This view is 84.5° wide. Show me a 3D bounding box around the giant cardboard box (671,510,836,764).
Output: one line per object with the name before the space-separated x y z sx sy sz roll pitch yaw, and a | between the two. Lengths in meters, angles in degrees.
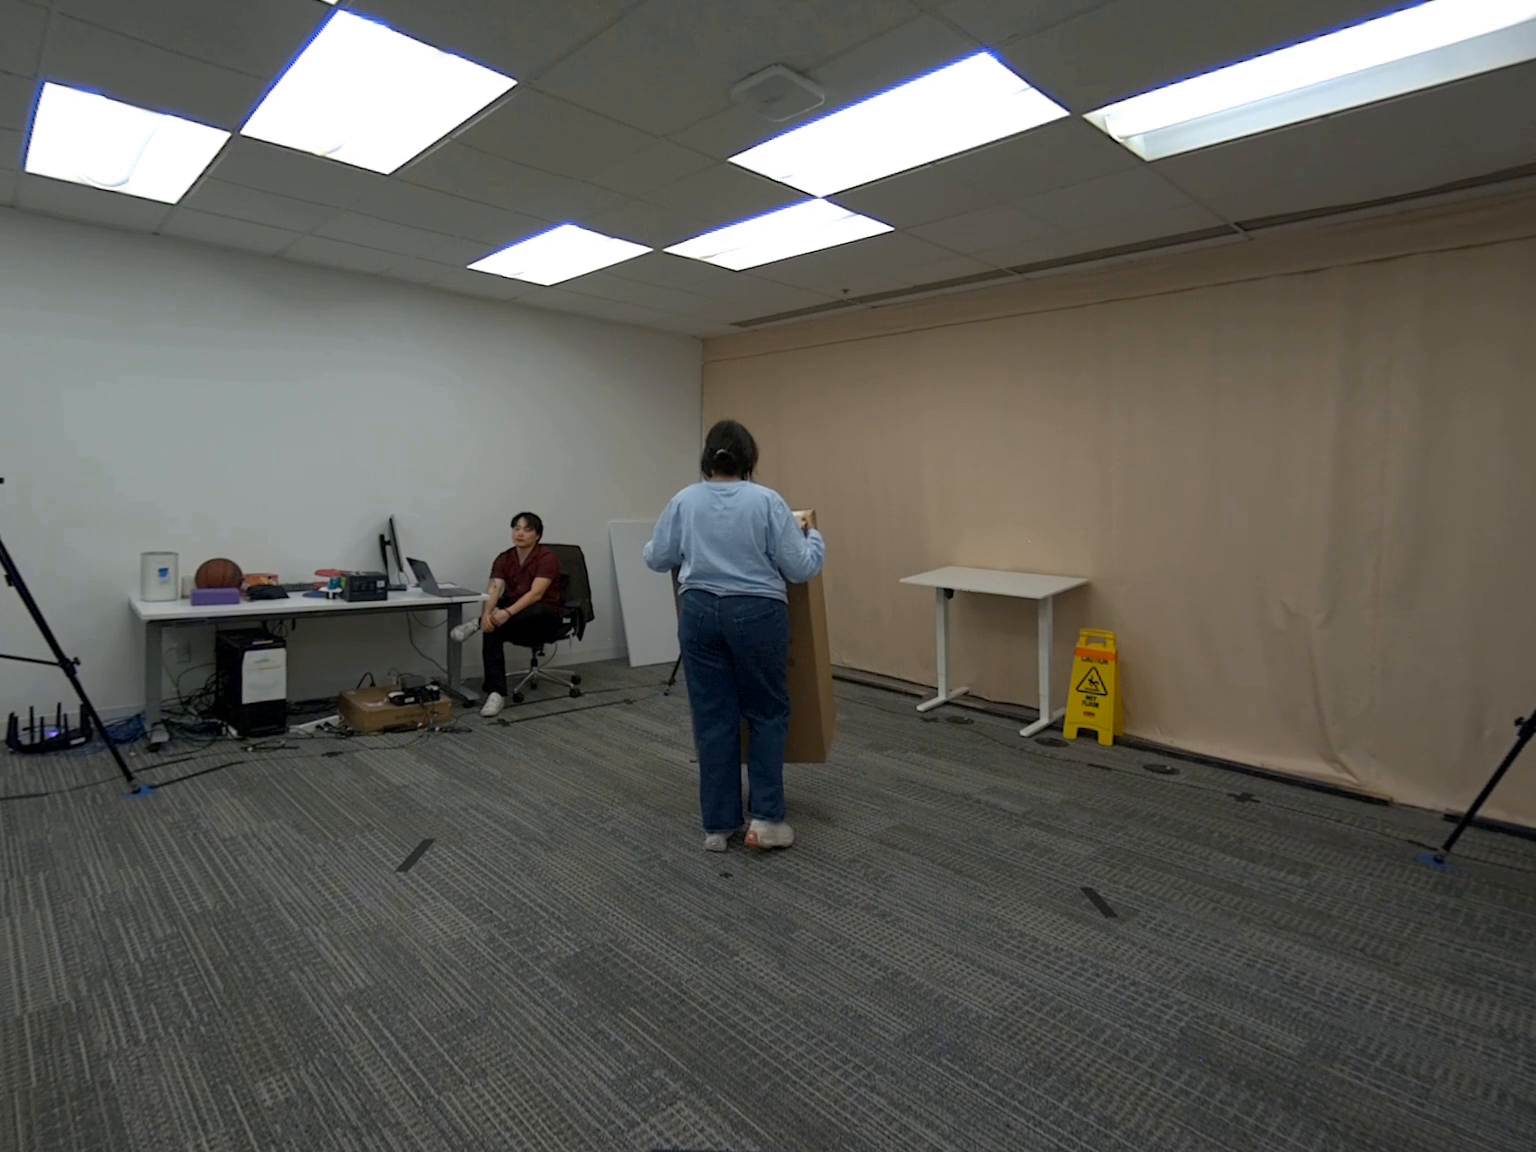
giant cardboard box | -0.054 0.269 3.722 0.583 1.015 0.426 -3 13 13
